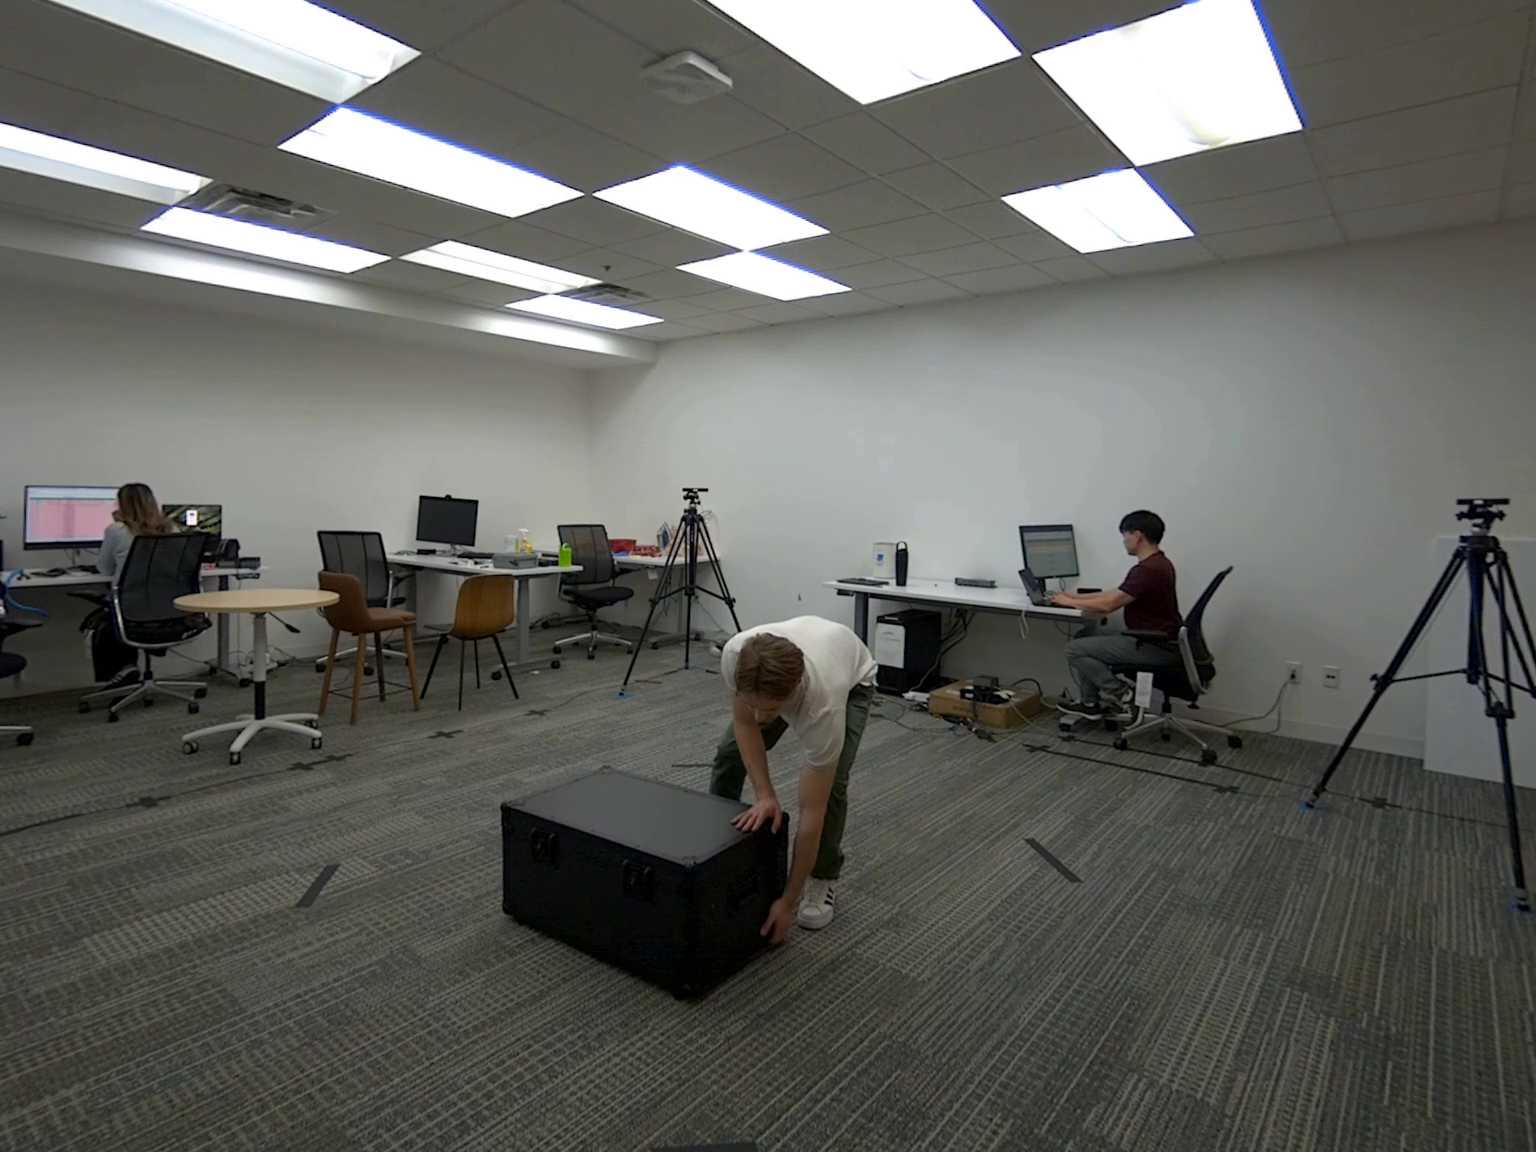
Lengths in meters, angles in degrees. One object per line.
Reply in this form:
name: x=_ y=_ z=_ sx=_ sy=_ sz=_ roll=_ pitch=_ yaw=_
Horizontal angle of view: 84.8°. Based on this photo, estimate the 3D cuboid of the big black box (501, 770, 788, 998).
big black box: x=-0.435 y=0.909 z=2.703 sx=0.896 sy=0.384 sz=0.509 roll=4 pitch=6 yaw=35
